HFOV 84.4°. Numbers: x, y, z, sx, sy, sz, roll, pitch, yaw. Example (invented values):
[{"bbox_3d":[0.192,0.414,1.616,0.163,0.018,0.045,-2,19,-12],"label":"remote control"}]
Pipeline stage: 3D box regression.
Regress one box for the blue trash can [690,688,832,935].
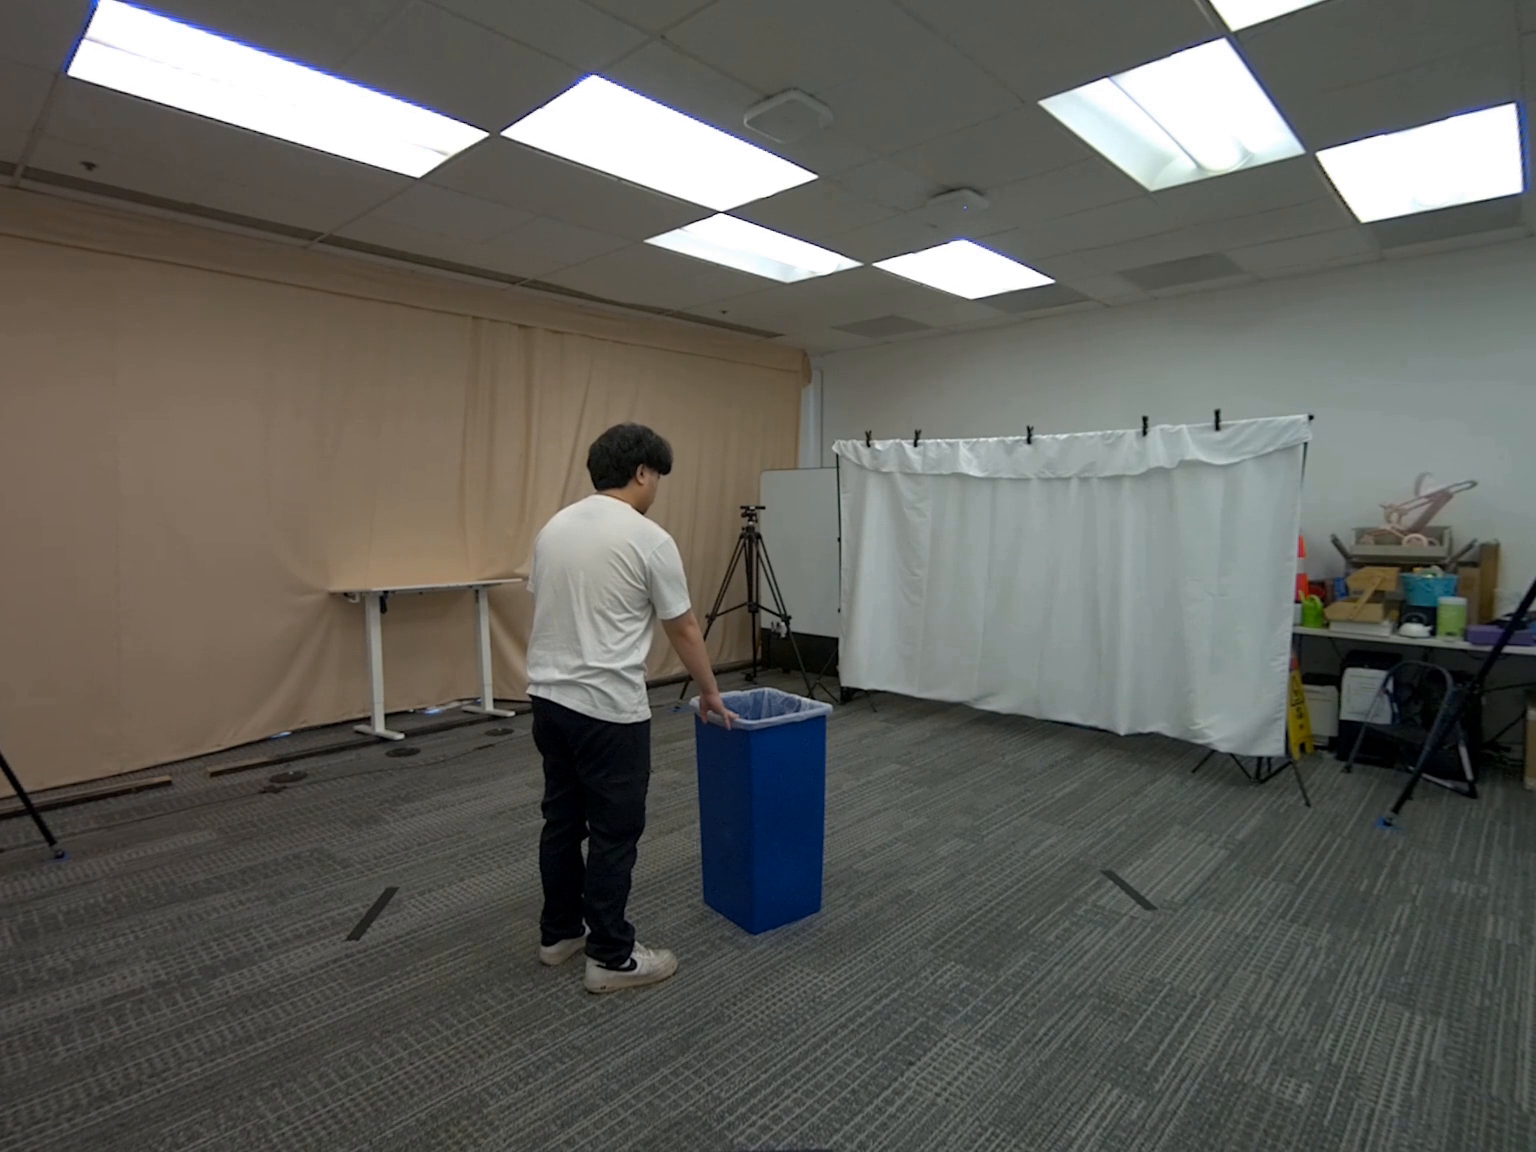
[{"bbox_3d":[-0.026,0.793,2.907,0.363,0.712,0.390,-2,4,-37],"label":"blue trash can"}]
